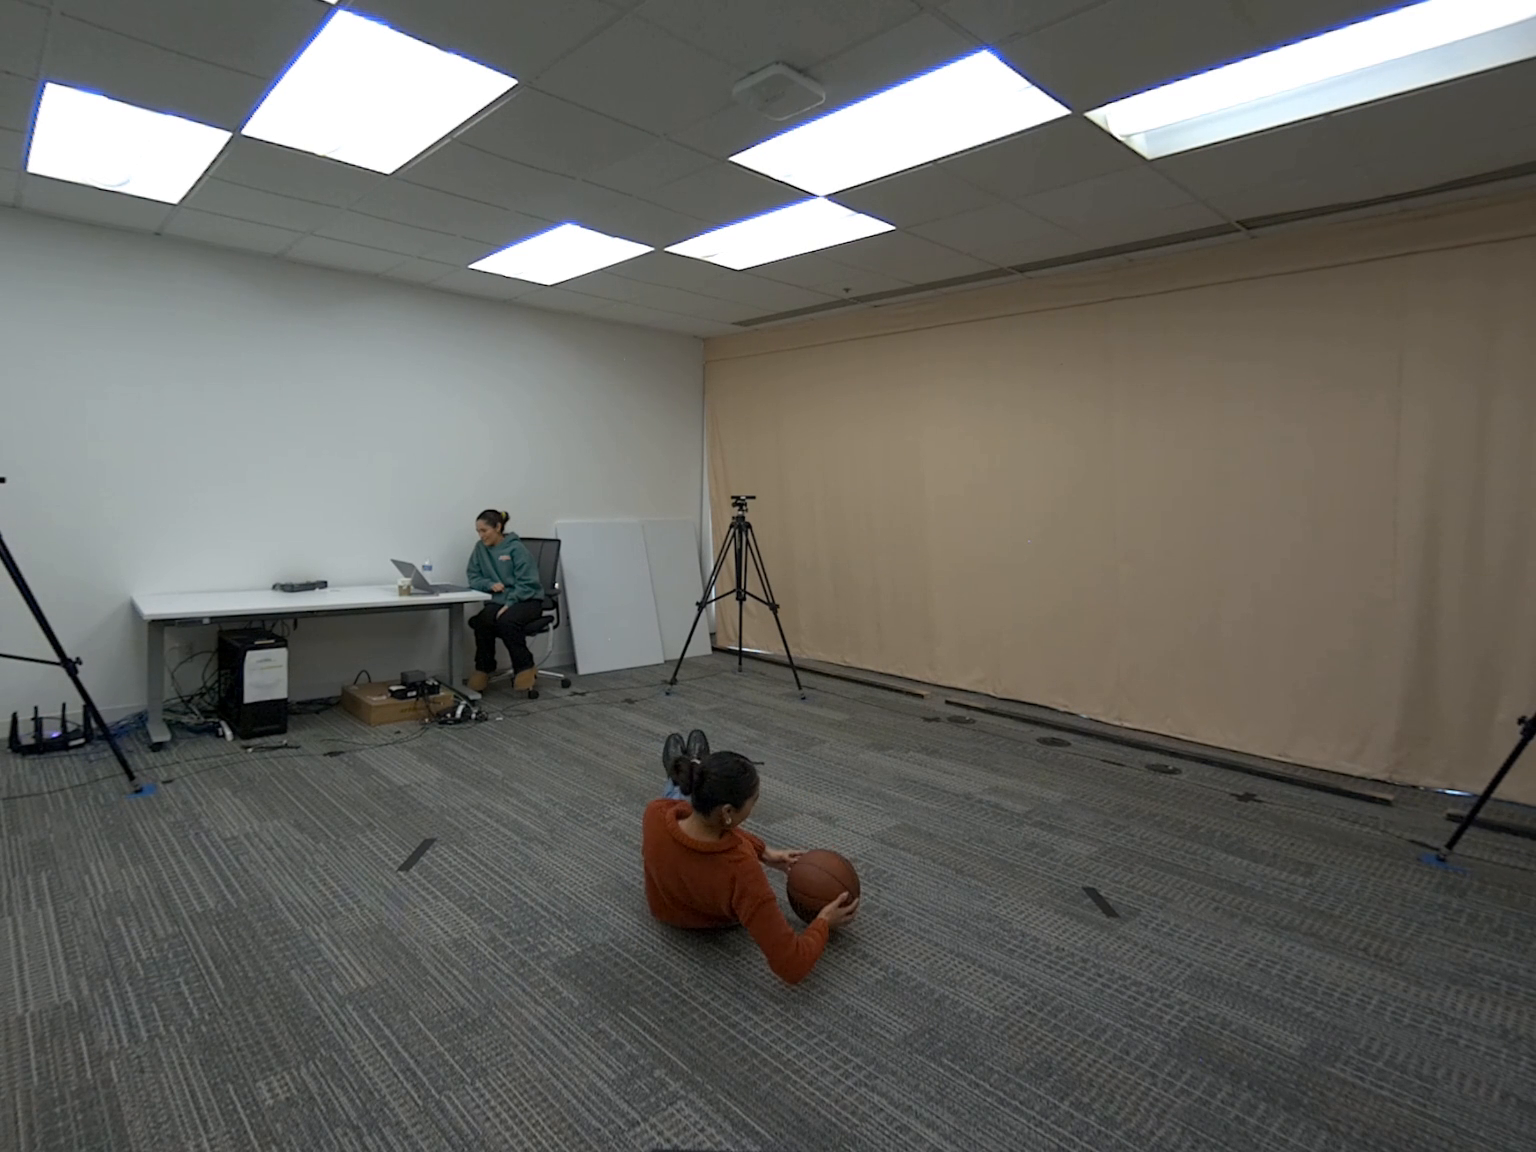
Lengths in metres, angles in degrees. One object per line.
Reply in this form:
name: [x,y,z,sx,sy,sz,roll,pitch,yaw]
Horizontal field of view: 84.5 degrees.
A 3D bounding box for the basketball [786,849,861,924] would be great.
basketball: [0.160,0.965,2.708,0.236,0.235,0.237,1,4,-1]
